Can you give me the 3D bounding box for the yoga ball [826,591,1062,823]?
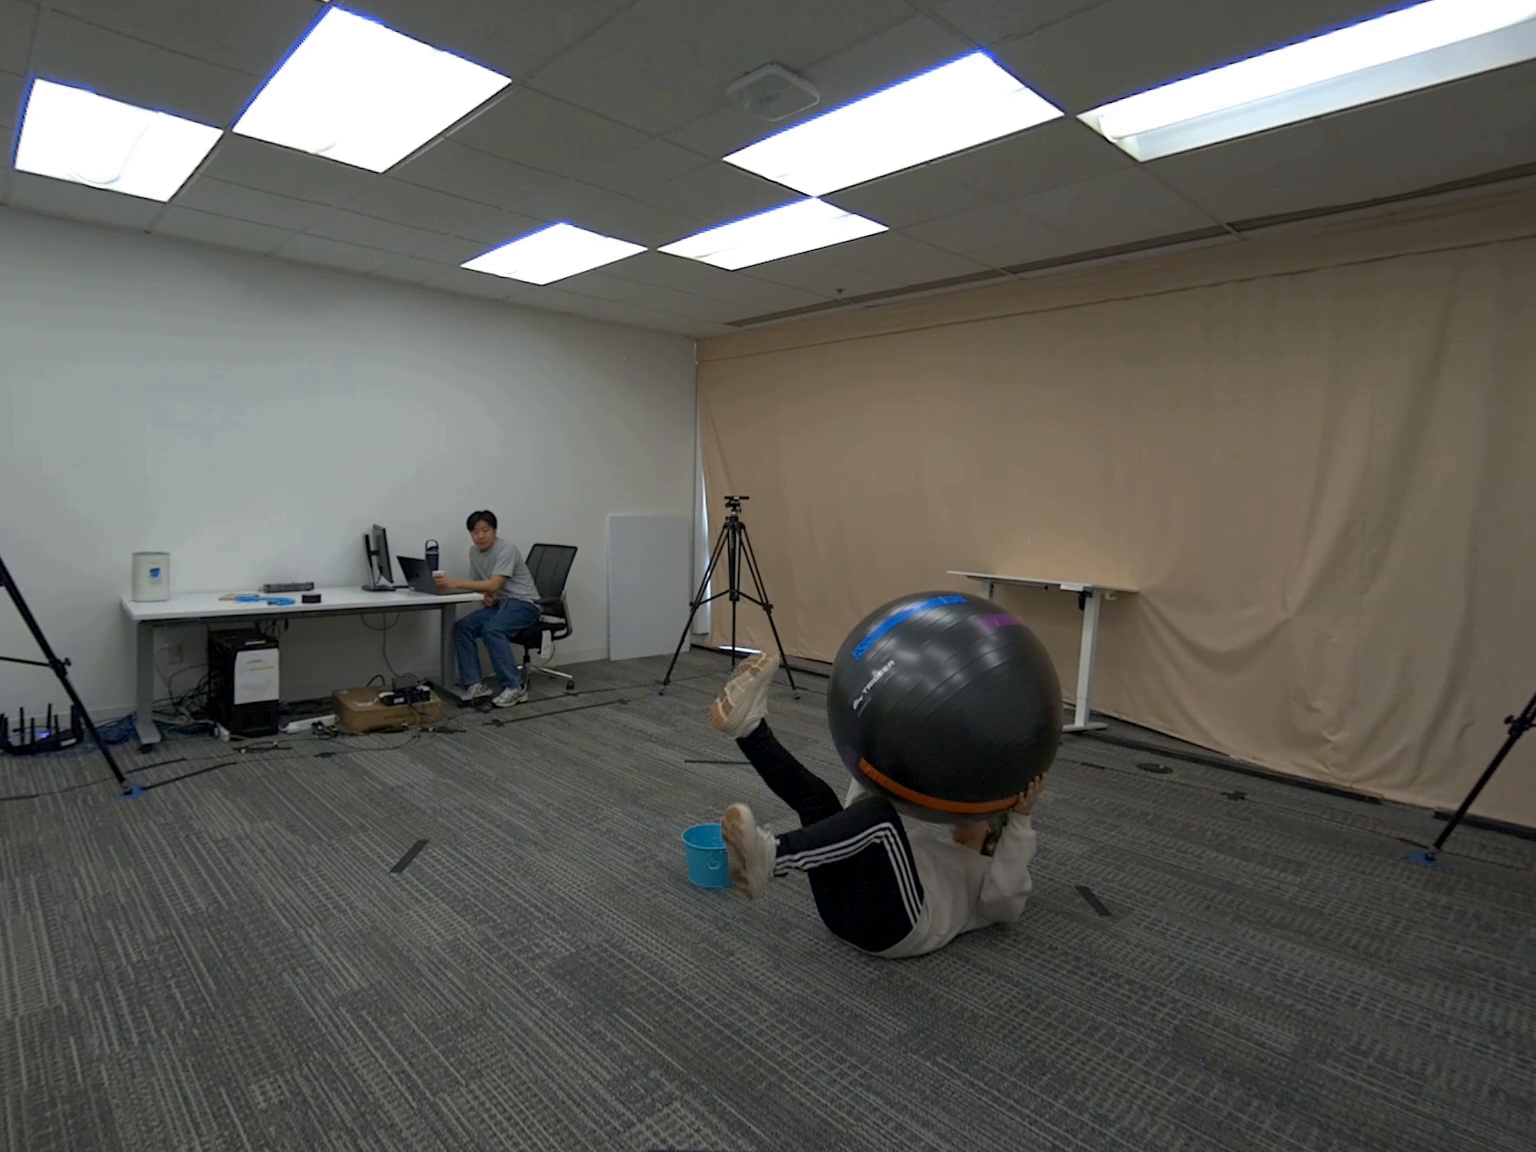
[{"bbox_3d":[0.575,0.429,2.792,0.757,0.756,0.761,1,4,-1],"label":"yoga ball"}]
